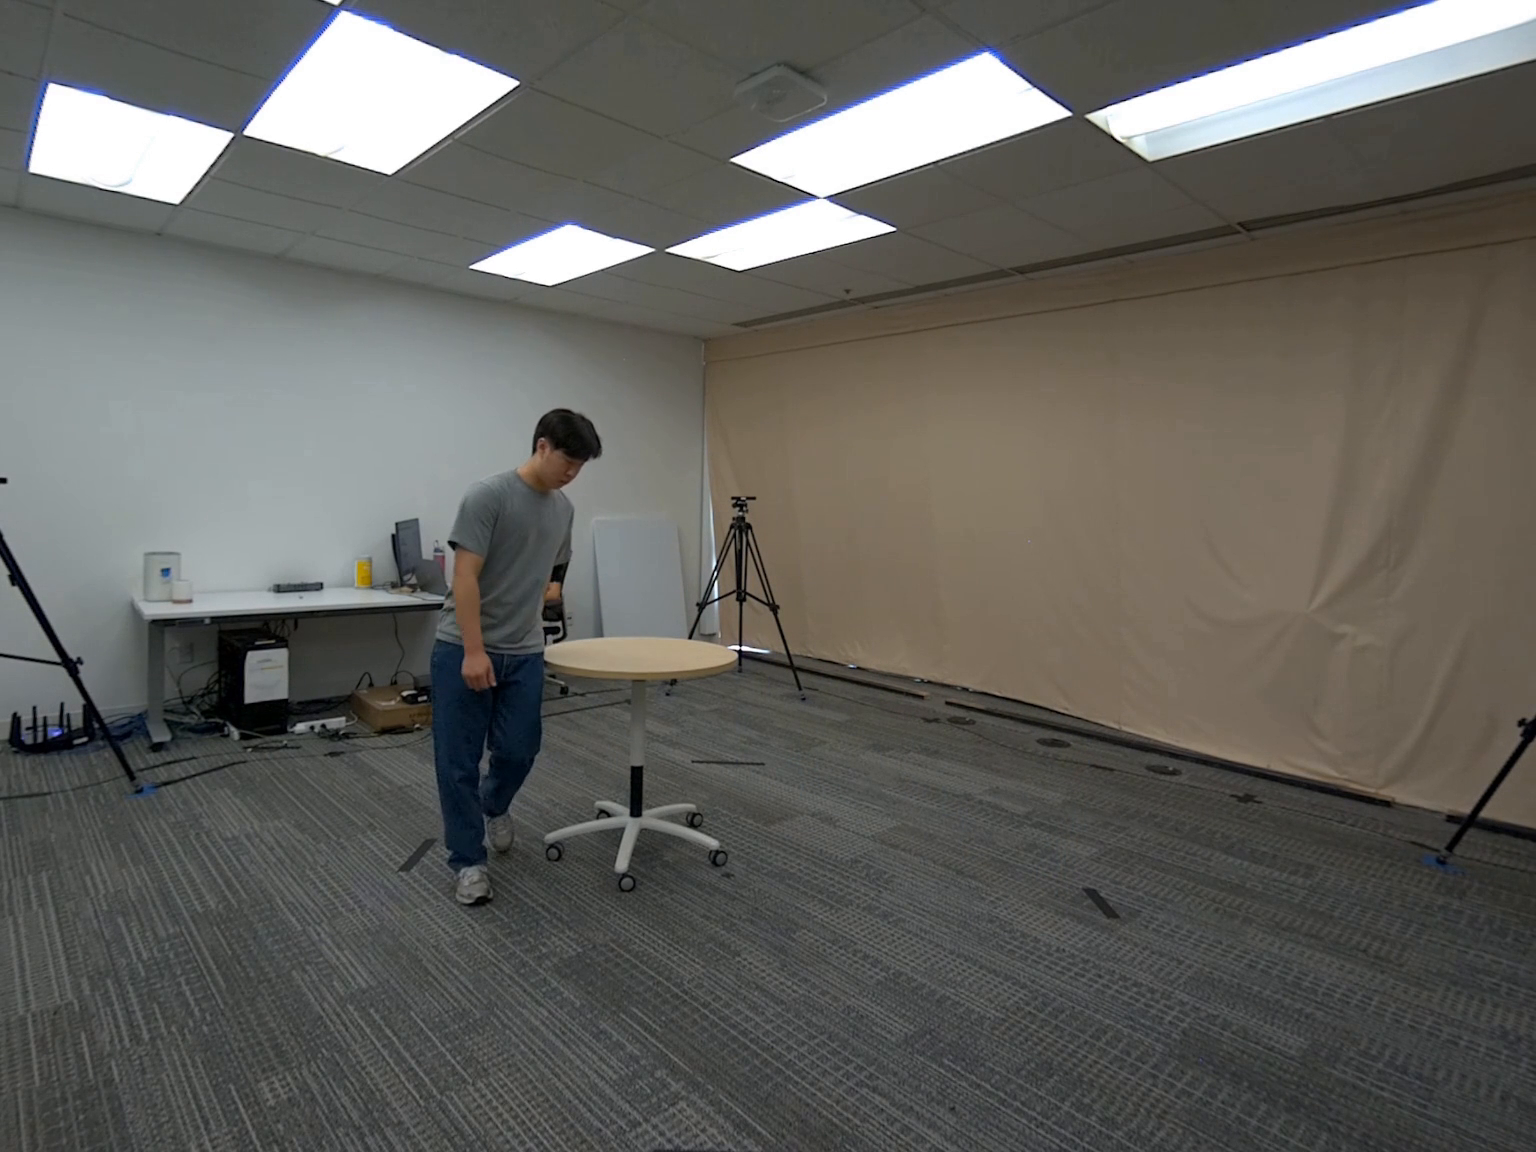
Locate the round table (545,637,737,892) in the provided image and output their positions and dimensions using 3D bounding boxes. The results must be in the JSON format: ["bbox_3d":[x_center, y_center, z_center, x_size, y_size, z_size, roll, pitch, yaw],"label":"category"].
[{"bbox_3d":[-0.513,0.691,3.282,0.763,0.792,0.766,2,3,-1],"label":"round table"}]
